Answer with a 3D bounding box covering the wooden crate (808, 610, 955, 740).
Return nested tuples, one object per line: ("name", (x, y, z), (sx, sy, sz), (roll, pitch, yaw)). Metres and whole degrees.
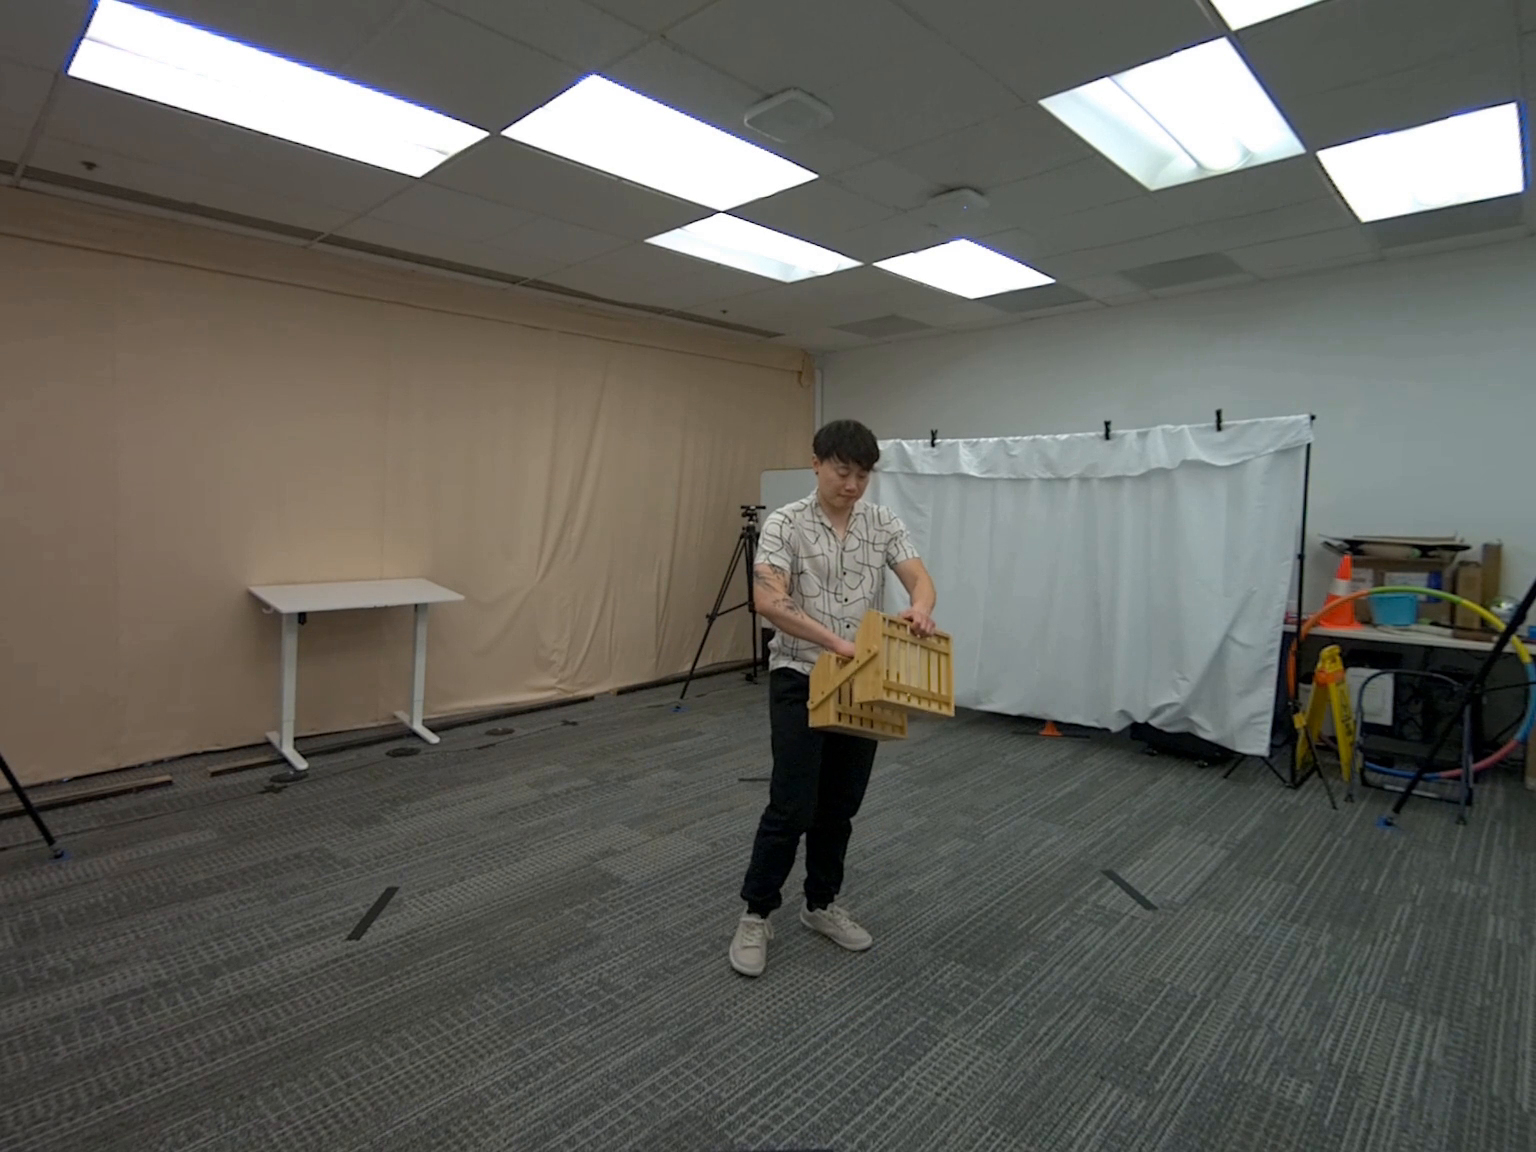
("wooden crate", (0.319, 0.280, 2.356), (0.313, 0.305, 0.279), (17, -24, -35))
